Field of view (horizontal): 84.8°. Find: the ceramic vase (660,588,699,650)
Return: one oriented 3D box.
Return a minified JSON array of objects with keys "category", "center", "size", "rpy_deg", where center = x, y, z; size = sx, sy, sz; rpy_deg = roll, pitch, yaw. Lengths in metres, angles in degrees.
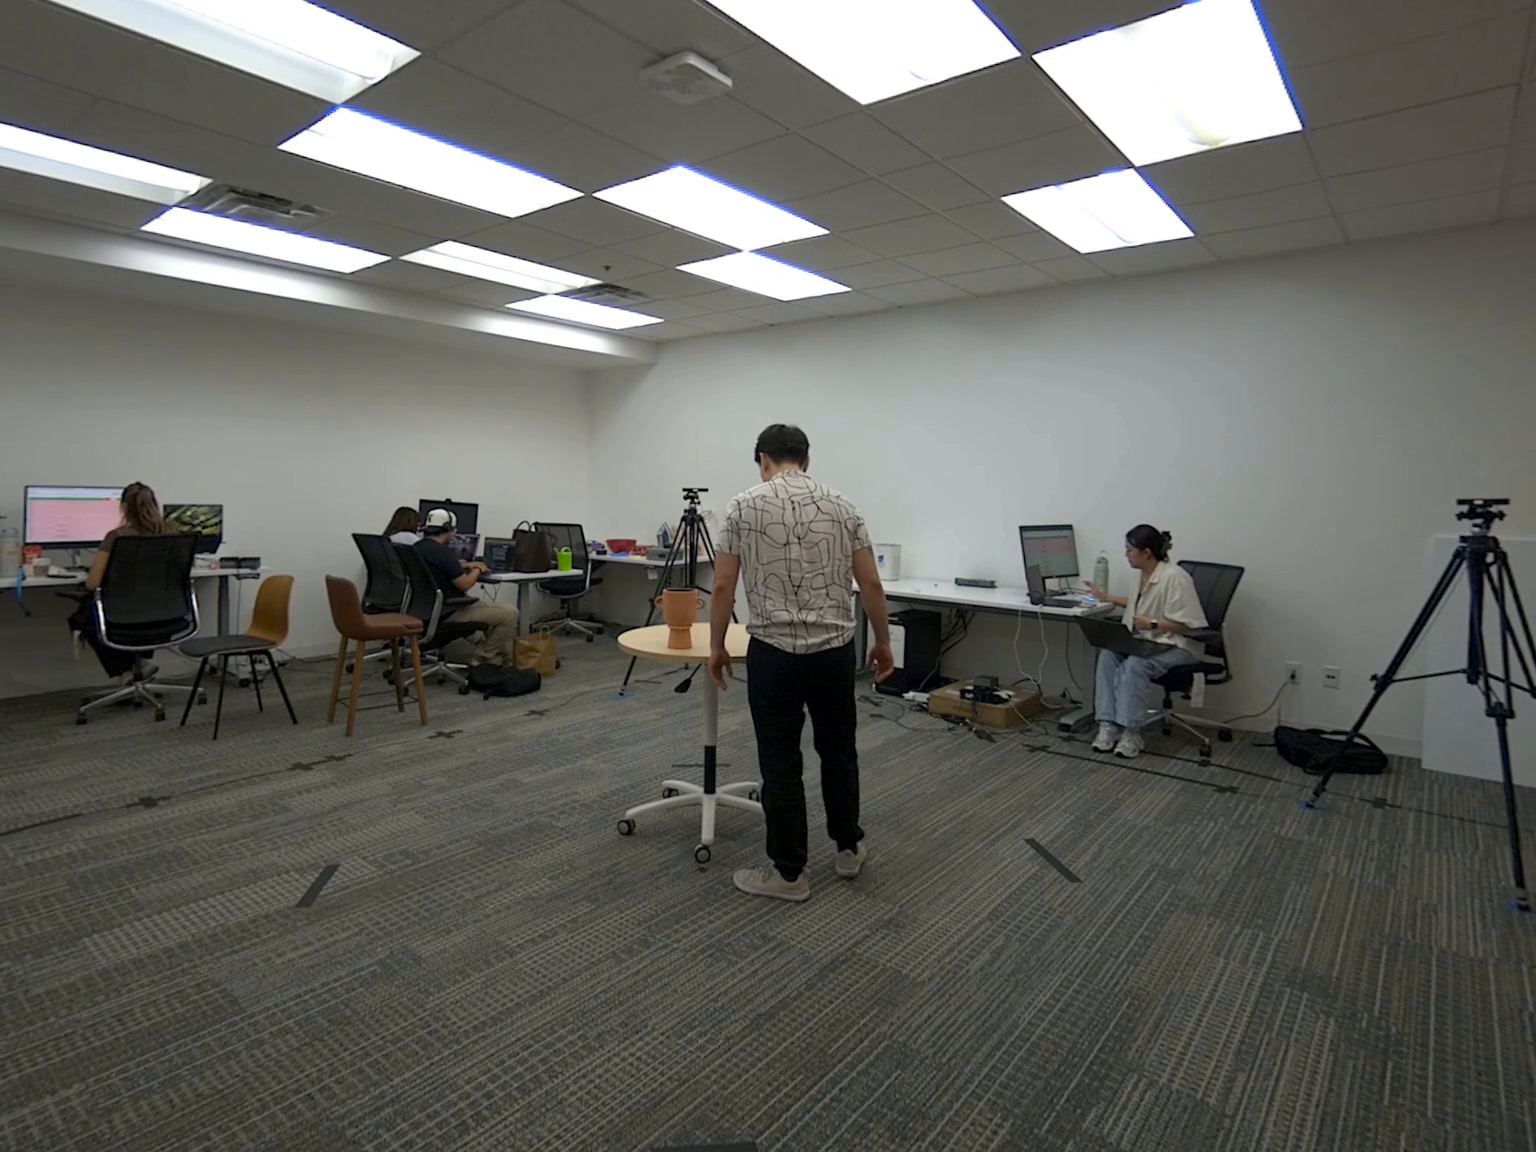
[{"category":"ceramic vase","center":[-0.352,0.162,3.272],"size":[0.164,0.219,0.130],"rpy_deg":[5,6,45]}]
